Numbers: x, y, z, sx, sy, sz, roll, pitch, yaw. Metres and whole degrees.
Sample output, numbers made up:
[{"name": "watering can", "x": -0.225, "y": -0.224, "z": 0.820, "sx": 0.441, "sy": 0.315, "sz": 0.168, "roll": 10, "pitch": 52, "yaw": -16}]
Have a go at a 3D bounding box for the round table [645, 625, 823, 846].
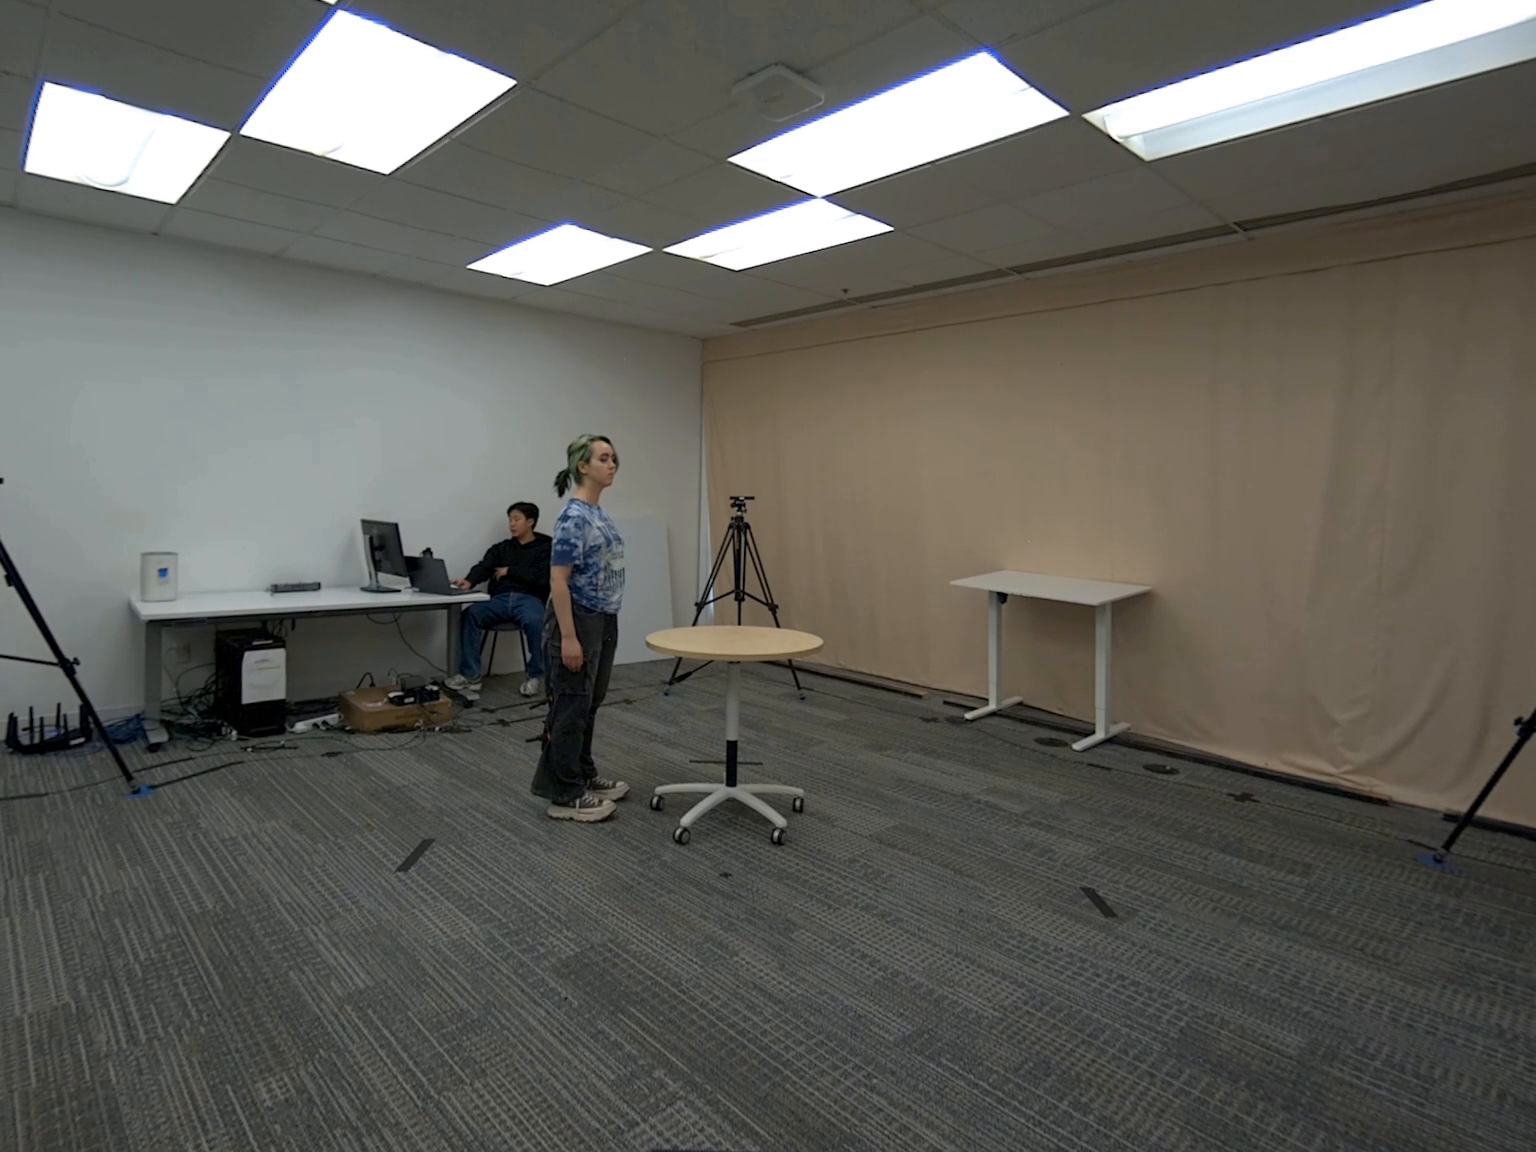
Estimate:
[{"name": "round table", "x": -0.164, "y": 0.667, "z": 3.658, "sx": 0.763, "sy": 0.792, "sz": 0.766, "roll": 1, "pitch": 4, "yaw": -1}]
